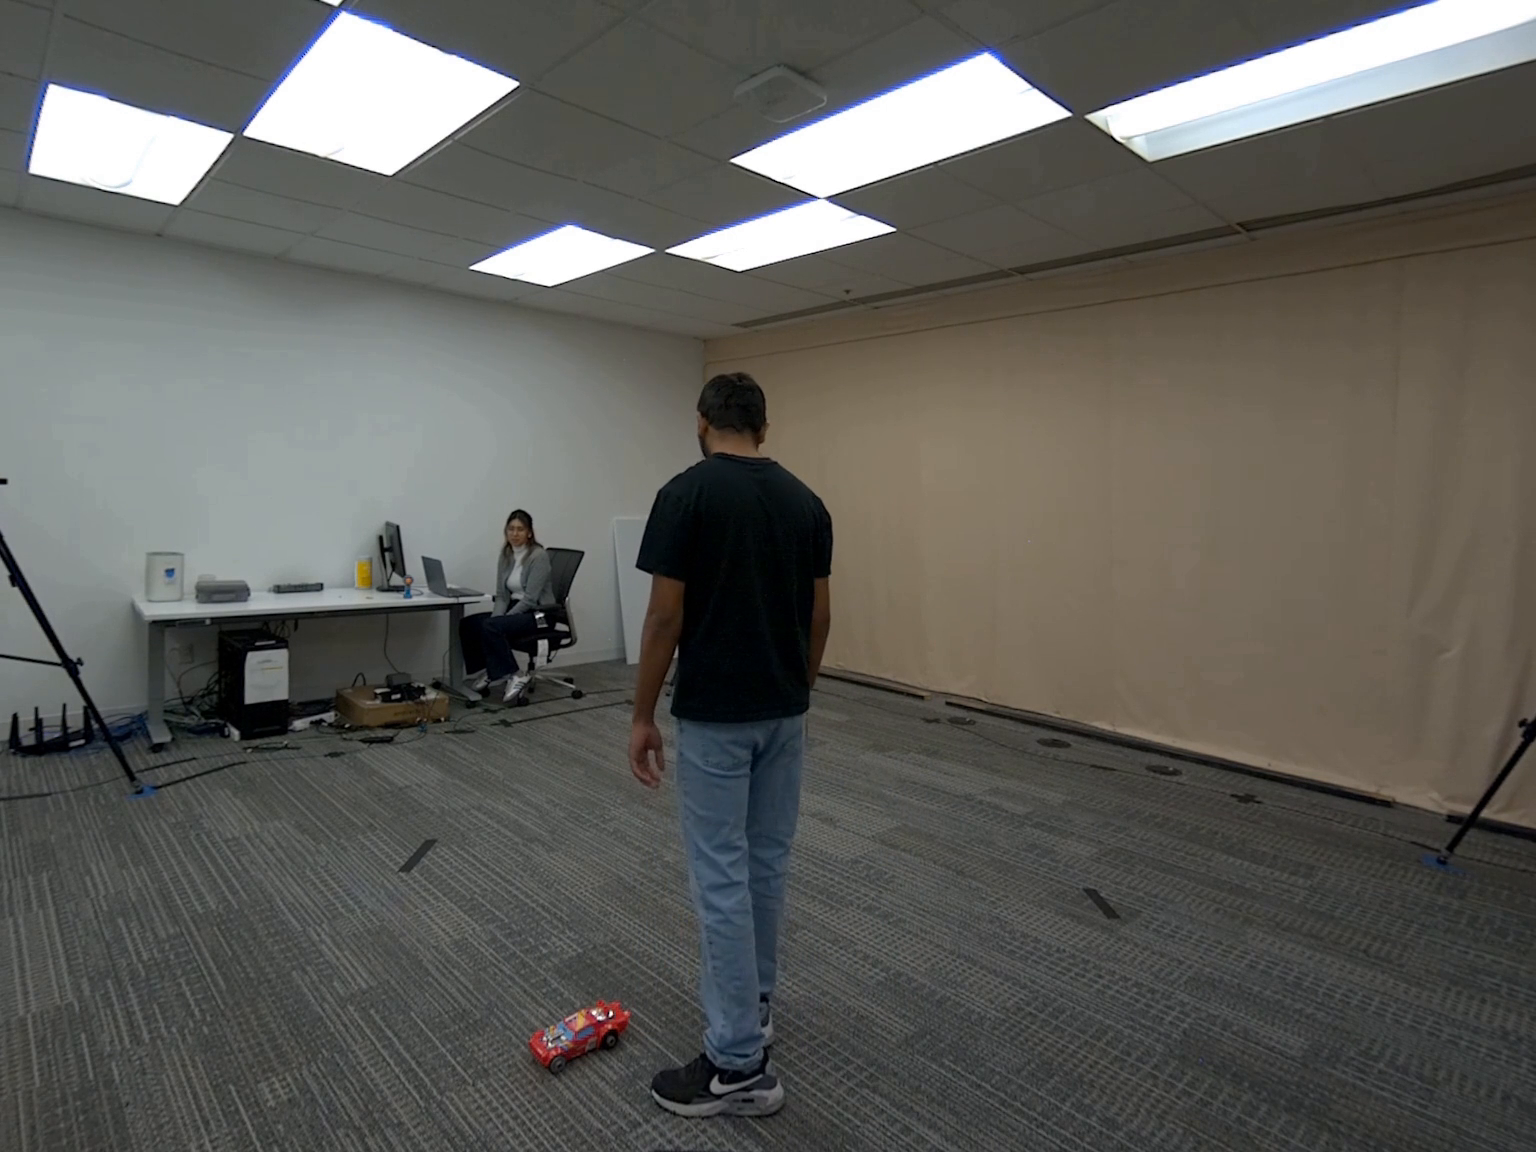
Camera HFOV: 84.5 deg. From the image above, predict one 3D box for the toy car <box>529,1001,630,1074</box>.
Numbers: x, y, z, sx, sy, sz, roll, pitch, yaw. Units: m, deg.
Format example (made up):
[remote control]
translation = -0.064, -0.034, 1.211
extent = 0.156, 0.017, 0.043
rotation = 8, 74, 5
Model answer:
[toy car]
translation = -0.469, 1.154, 2.126
extent = 0.250, 0.082, 0.133
rotation = -17, 14, -38
